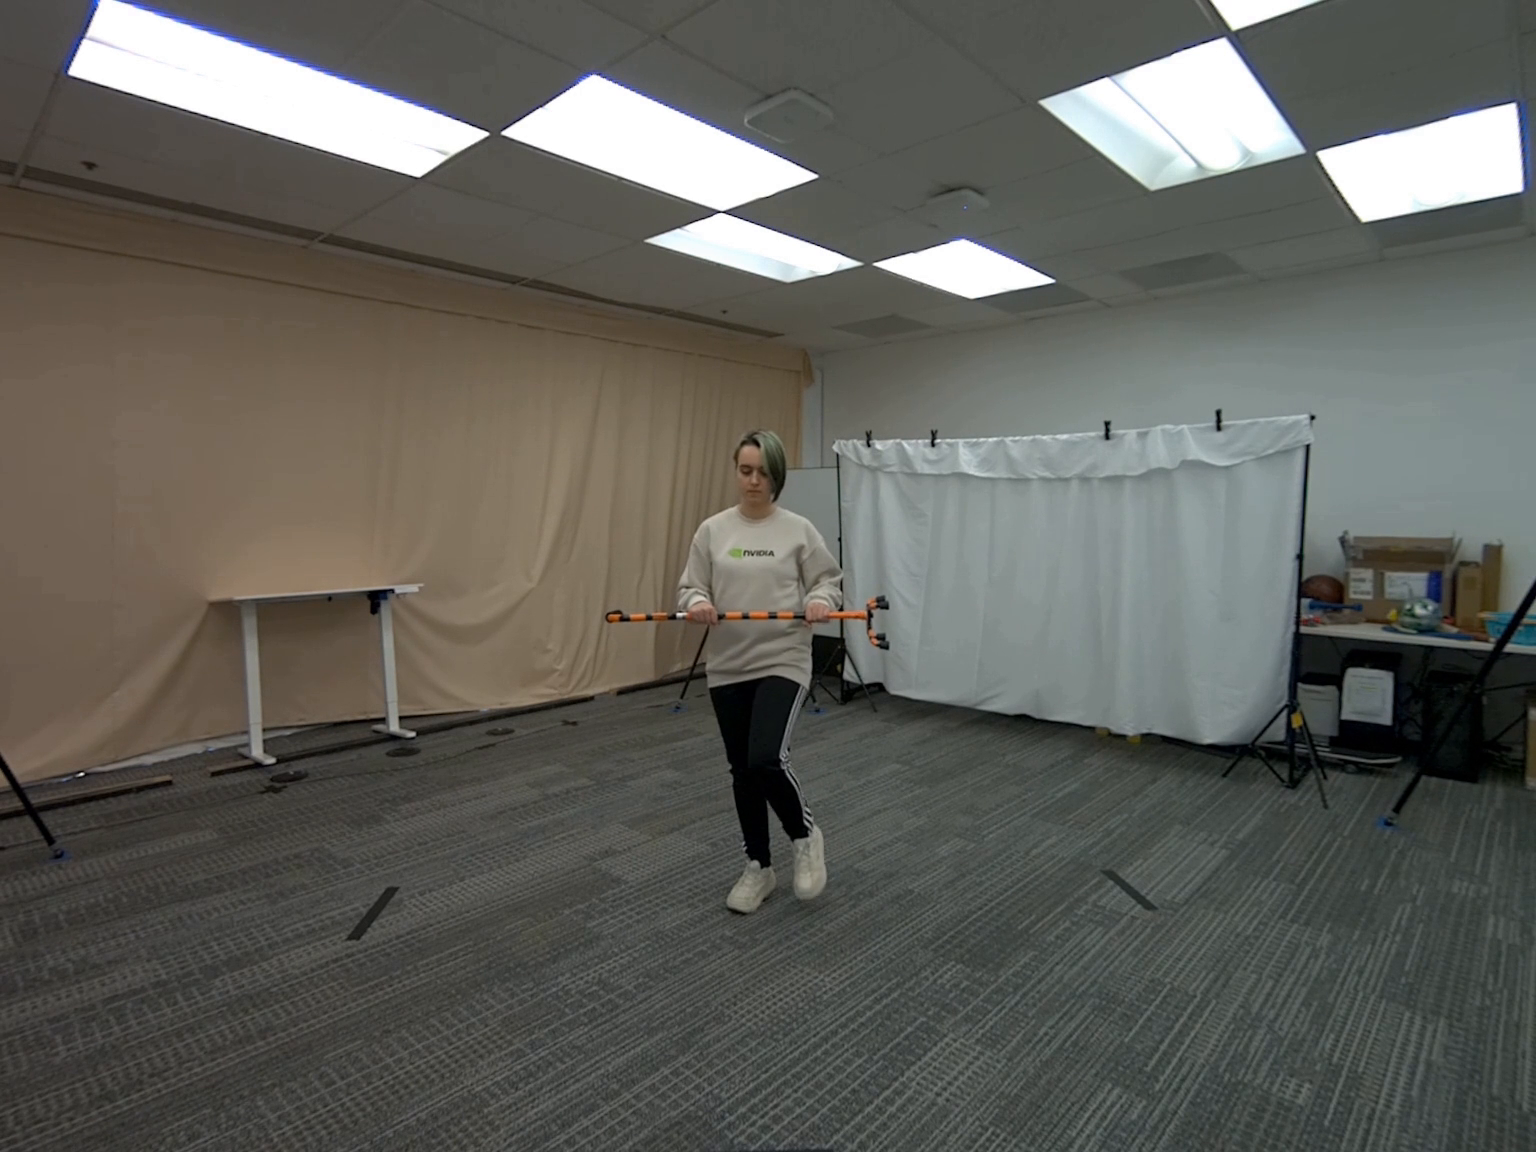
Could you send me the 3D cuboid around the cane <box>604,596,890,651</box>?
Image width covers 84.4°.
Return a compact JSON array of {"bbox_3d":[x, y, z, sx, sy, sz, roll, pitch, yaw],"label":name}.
[{"bbox_3d":[-0.082,0.147,2.693,0.914,0.151,0.205,1,4,6],"label":"cane"}]
